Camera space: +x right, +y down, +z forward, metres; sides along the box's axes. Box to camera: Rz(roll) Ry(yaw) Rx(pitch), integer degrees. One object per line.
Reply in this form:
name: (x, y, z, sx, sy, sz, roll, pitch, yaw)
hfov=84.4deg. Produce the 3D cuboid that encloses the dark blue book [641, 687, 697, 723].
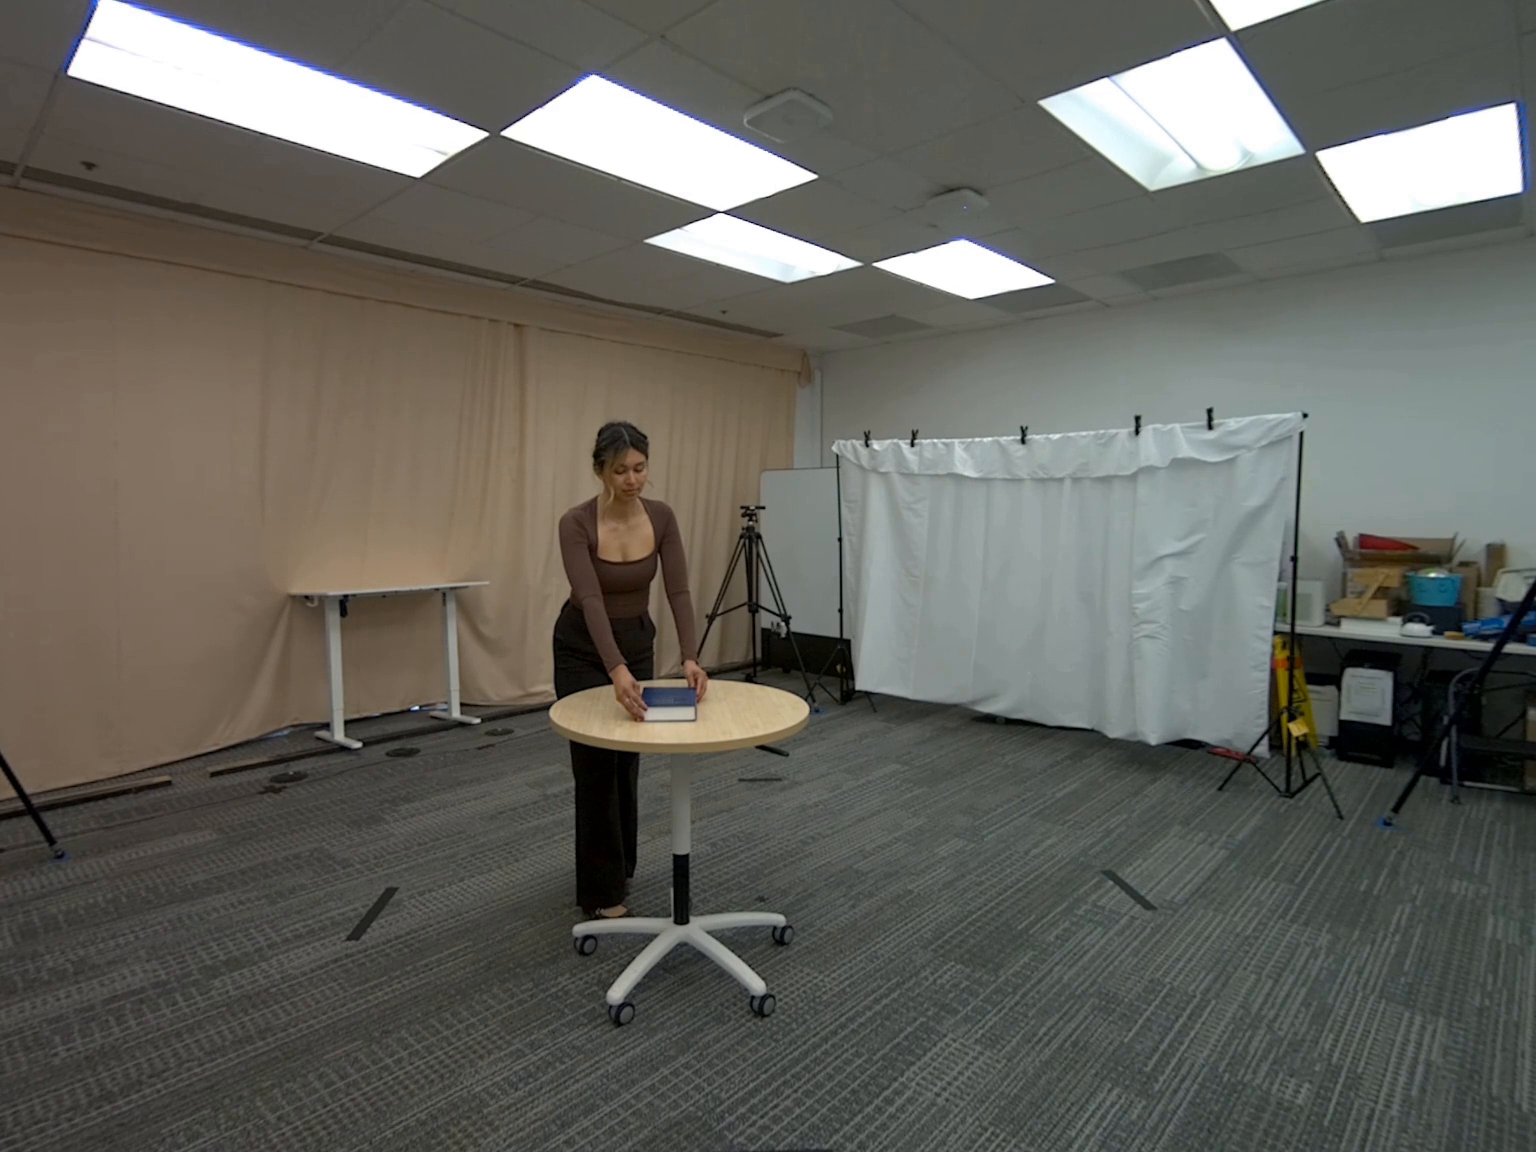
dark blue book: (-0.281, 0.373, 2.451, 0.163, 0.045, 0.246, 0, 5, -3)
